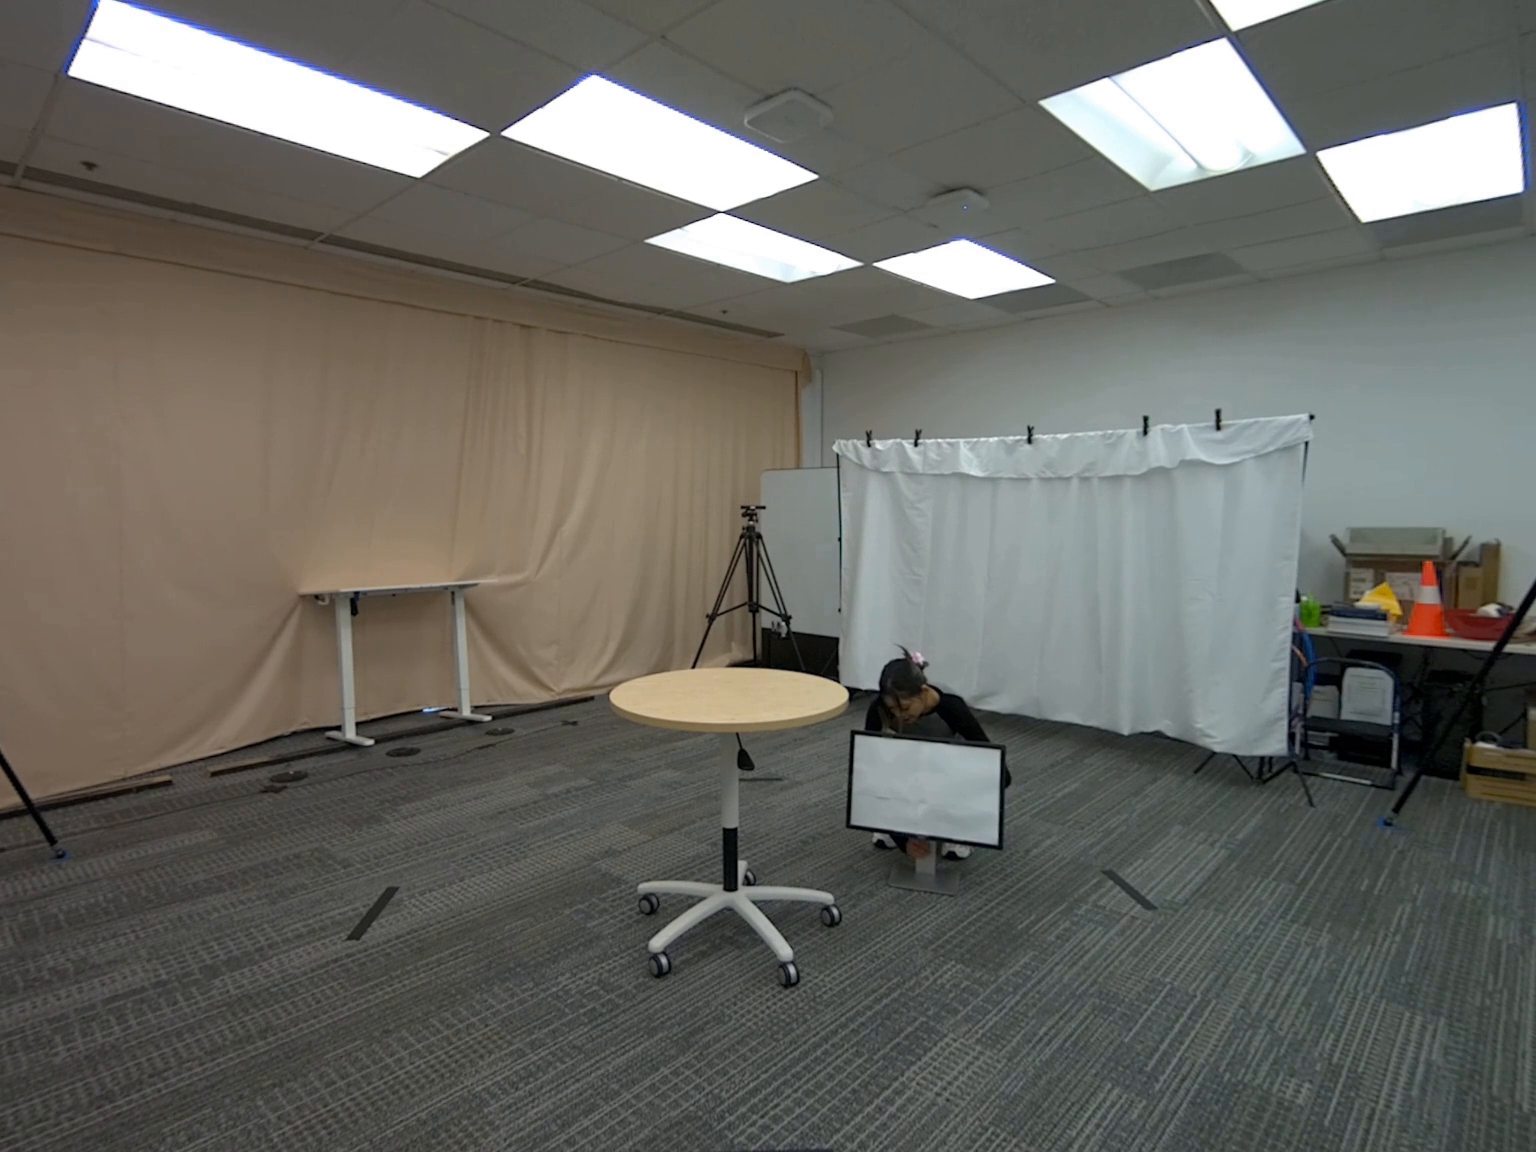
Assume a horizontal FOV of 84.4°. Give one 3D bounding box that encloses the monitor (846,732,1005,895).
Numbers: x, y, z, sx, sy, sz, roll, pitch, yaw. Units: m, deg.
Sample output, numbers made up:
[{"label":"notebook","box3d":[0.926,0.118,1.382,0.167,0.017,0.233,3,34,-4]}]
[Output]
[{"label":"monitor","box3d":[0.580,0.862,3.116,0.550,0.521,0.184,2,5,19]}]
